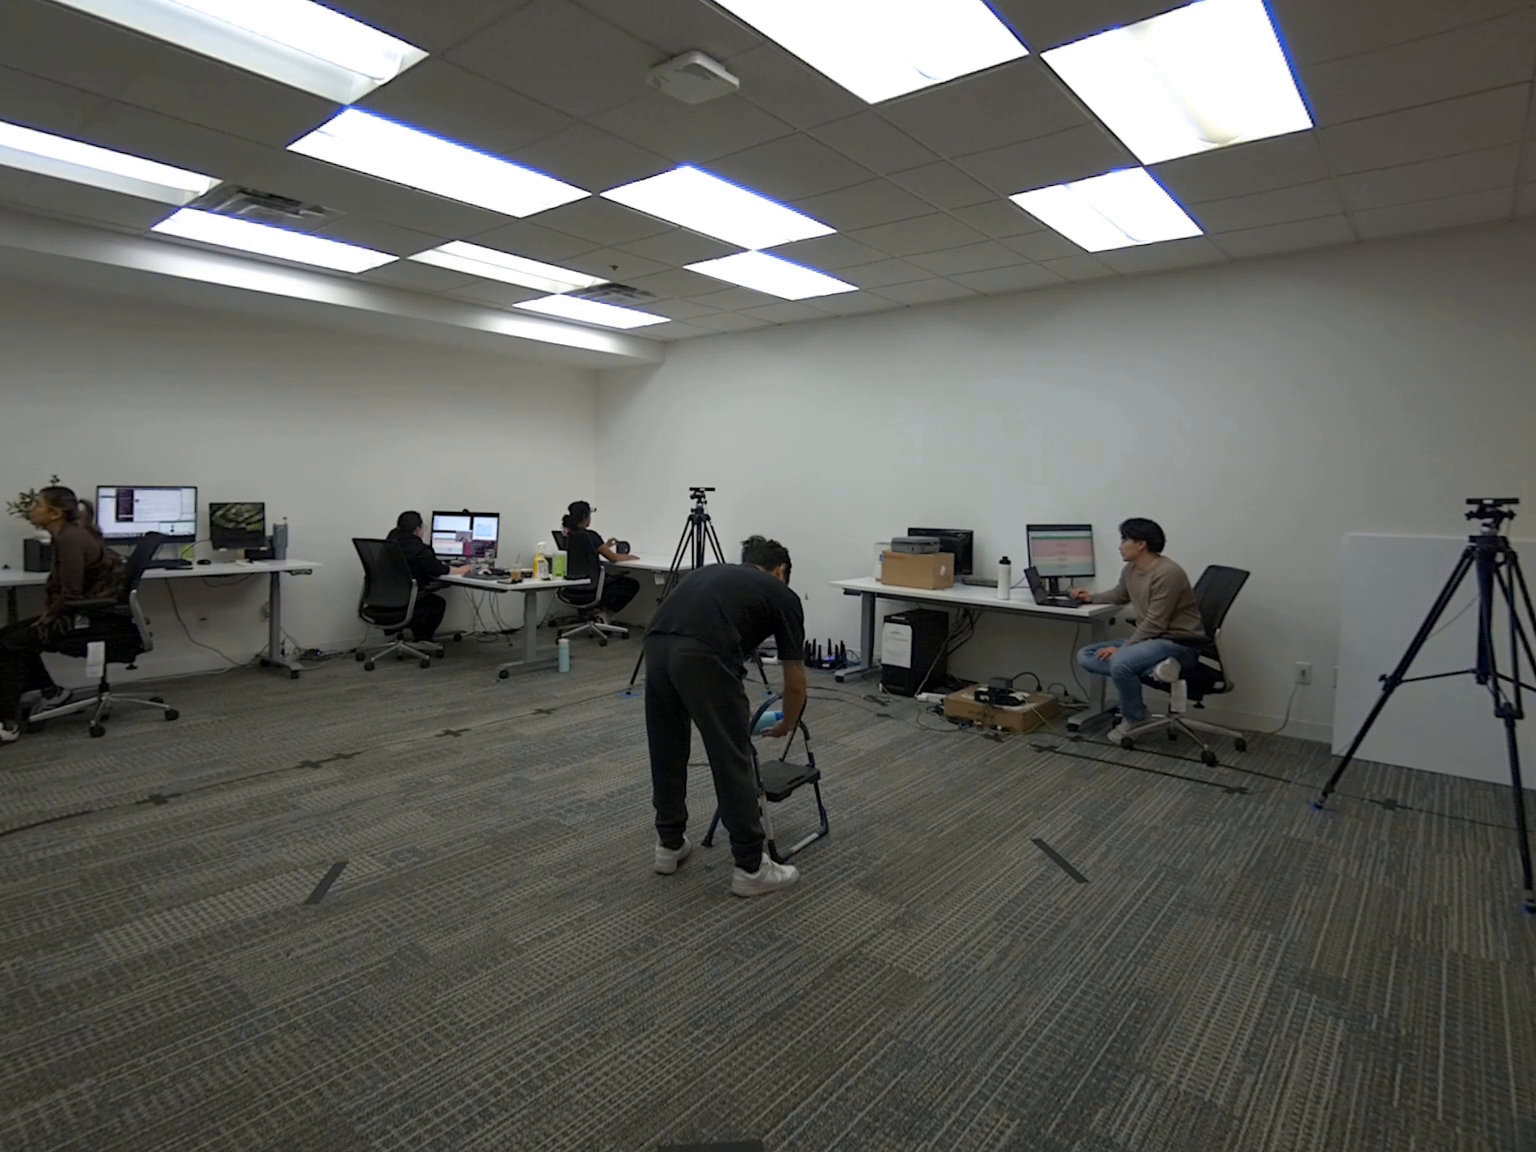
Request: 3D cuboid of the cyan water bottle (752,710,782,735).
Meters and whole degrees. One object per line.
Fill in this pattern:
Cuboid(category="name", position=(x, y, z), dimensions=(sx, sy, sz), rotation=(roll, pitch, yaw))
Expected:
Cuboid(category="cyan water bottle", position=(-0.025, 0.582, 3.381), dimensions=(0.279, 0.092, 0.094), rotation=(-3, 5, -14))
